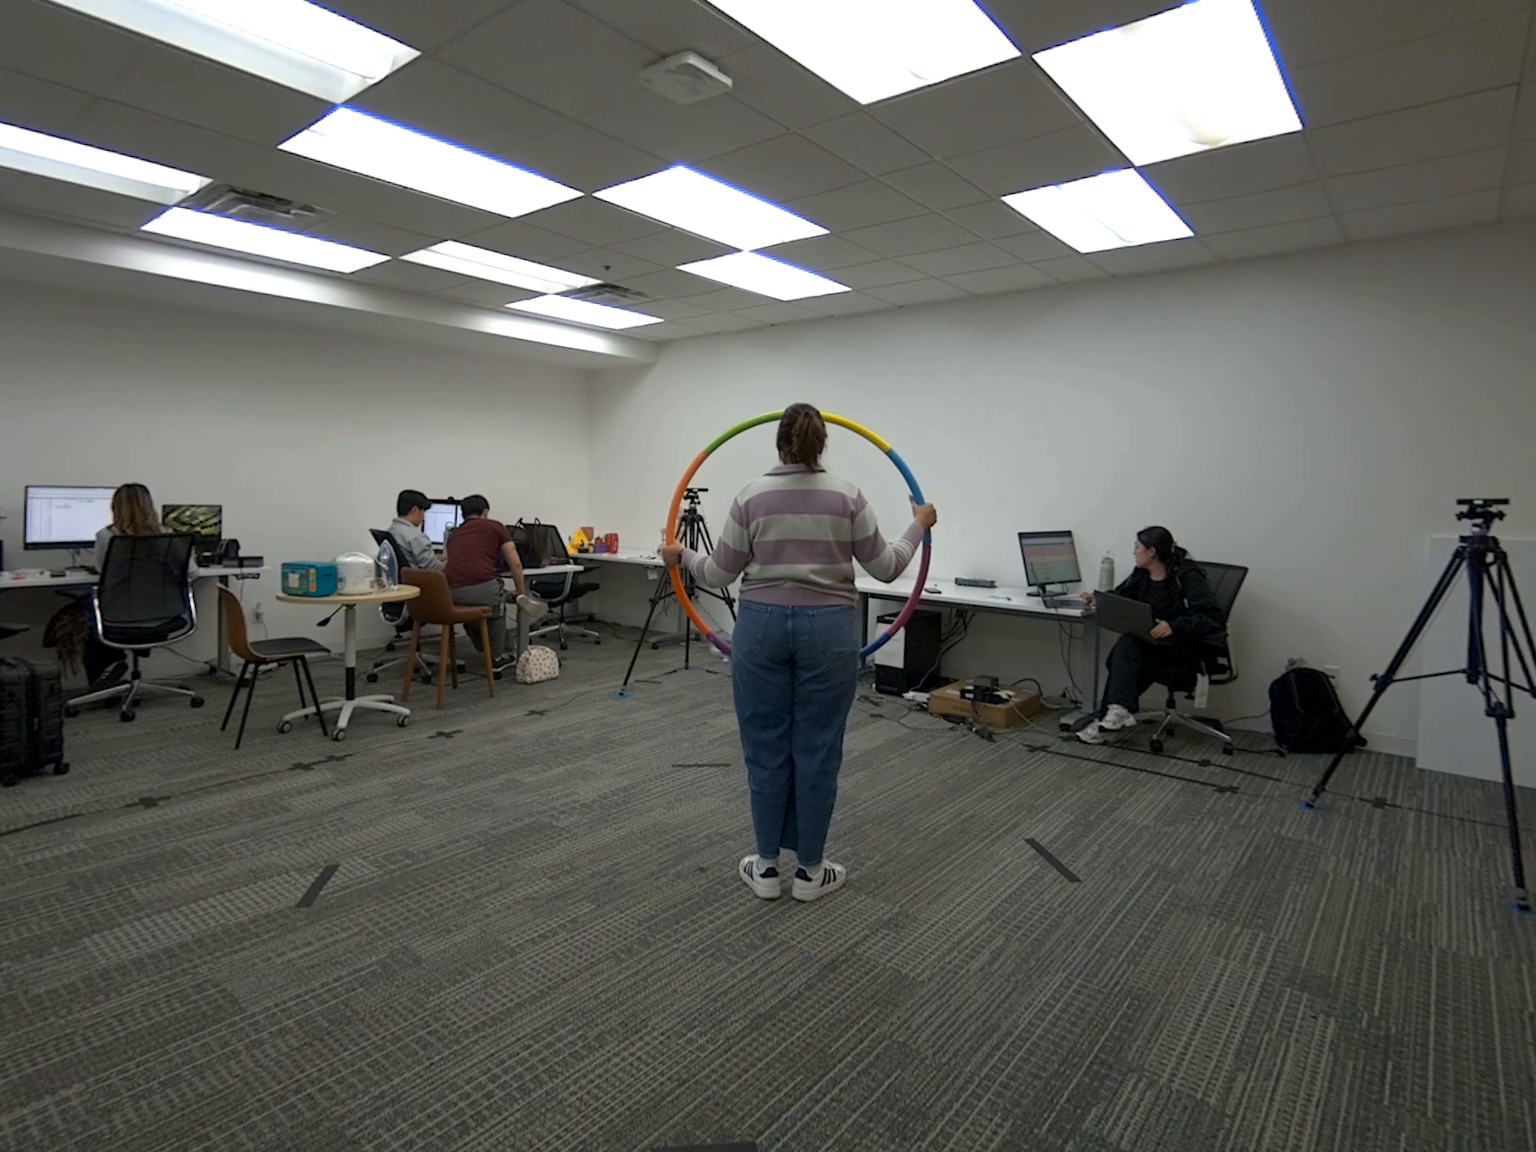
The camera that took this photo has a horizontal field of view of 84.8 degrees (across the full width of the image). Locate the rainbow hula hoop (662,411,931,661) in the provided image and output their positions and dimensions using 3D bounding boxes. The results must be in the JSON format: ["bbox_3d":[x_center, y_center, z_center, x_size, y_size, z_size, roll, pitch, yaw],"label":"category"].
[{"bbox_3d":[0.090,-0.126,3.158,0.986,0.975,0.035,1,4,7],"label":"rainbow hula hoop"}]
